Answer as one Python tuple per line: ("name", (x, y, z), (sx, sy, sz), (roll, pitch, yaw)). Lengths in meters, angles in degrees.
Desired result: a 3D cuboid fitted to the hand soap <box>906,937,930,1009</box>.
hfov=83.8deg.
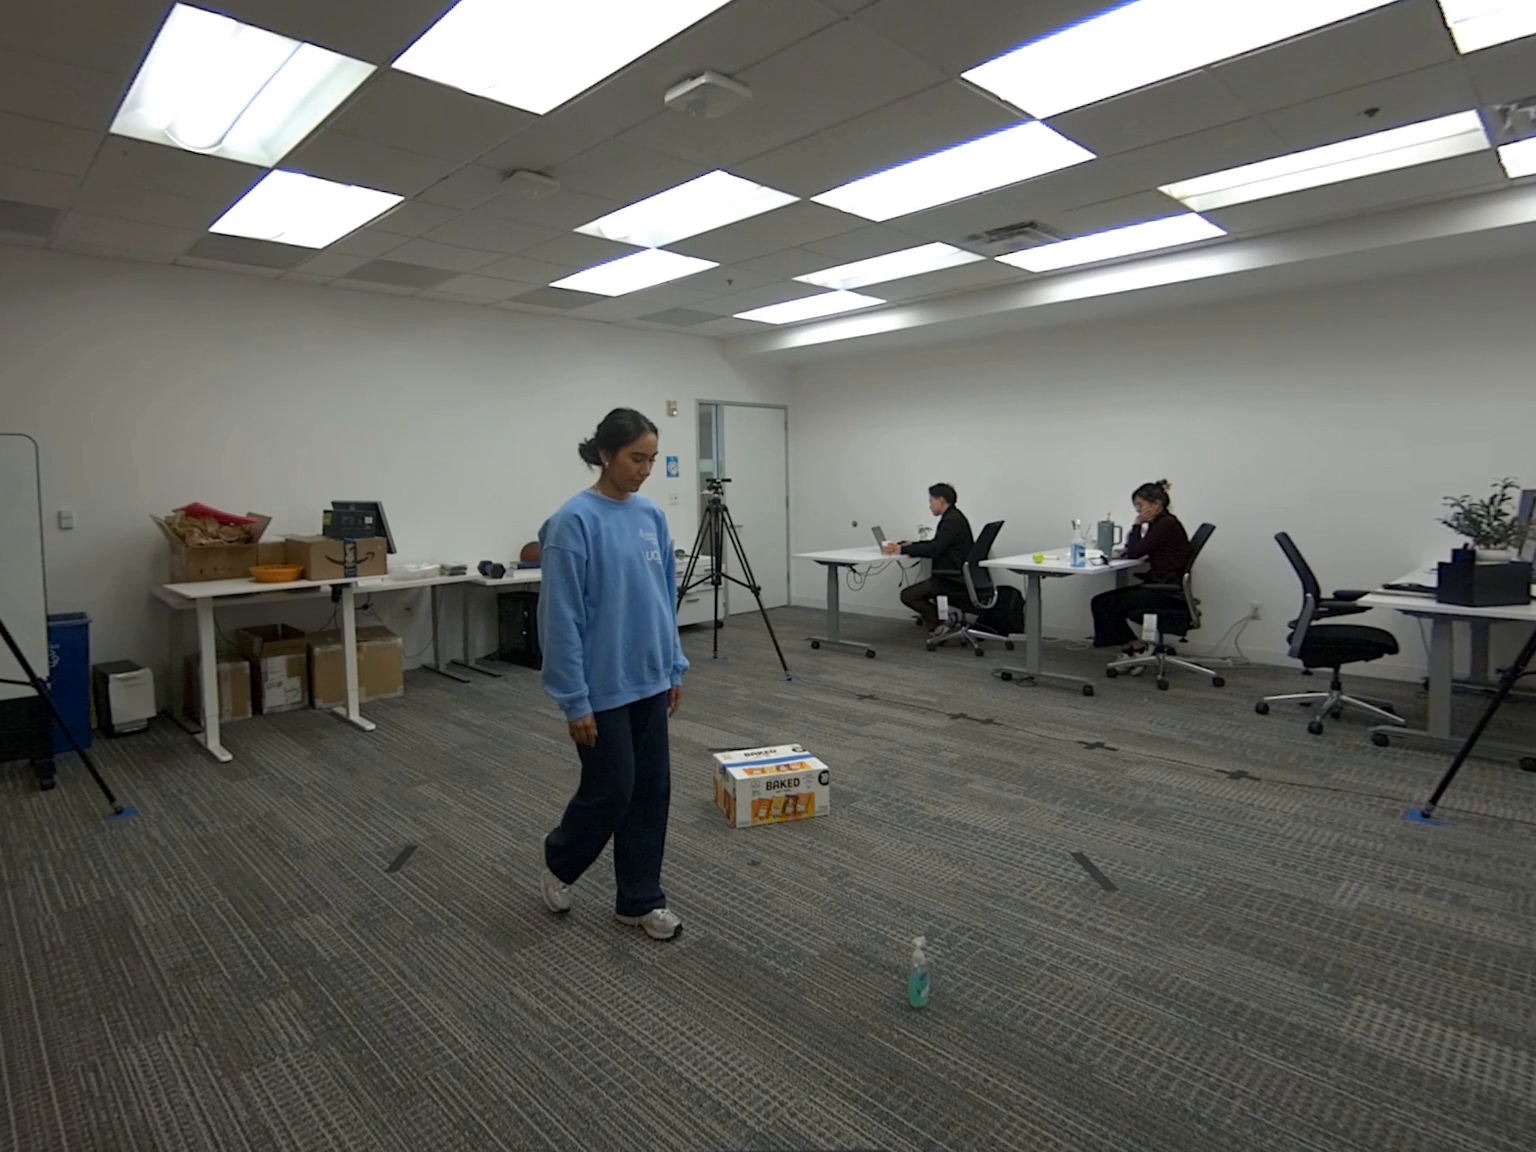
("hand soap", (0.407, 1.051, 2.267), (0.045, 0.167, 0.082), (2, 5, 40))
